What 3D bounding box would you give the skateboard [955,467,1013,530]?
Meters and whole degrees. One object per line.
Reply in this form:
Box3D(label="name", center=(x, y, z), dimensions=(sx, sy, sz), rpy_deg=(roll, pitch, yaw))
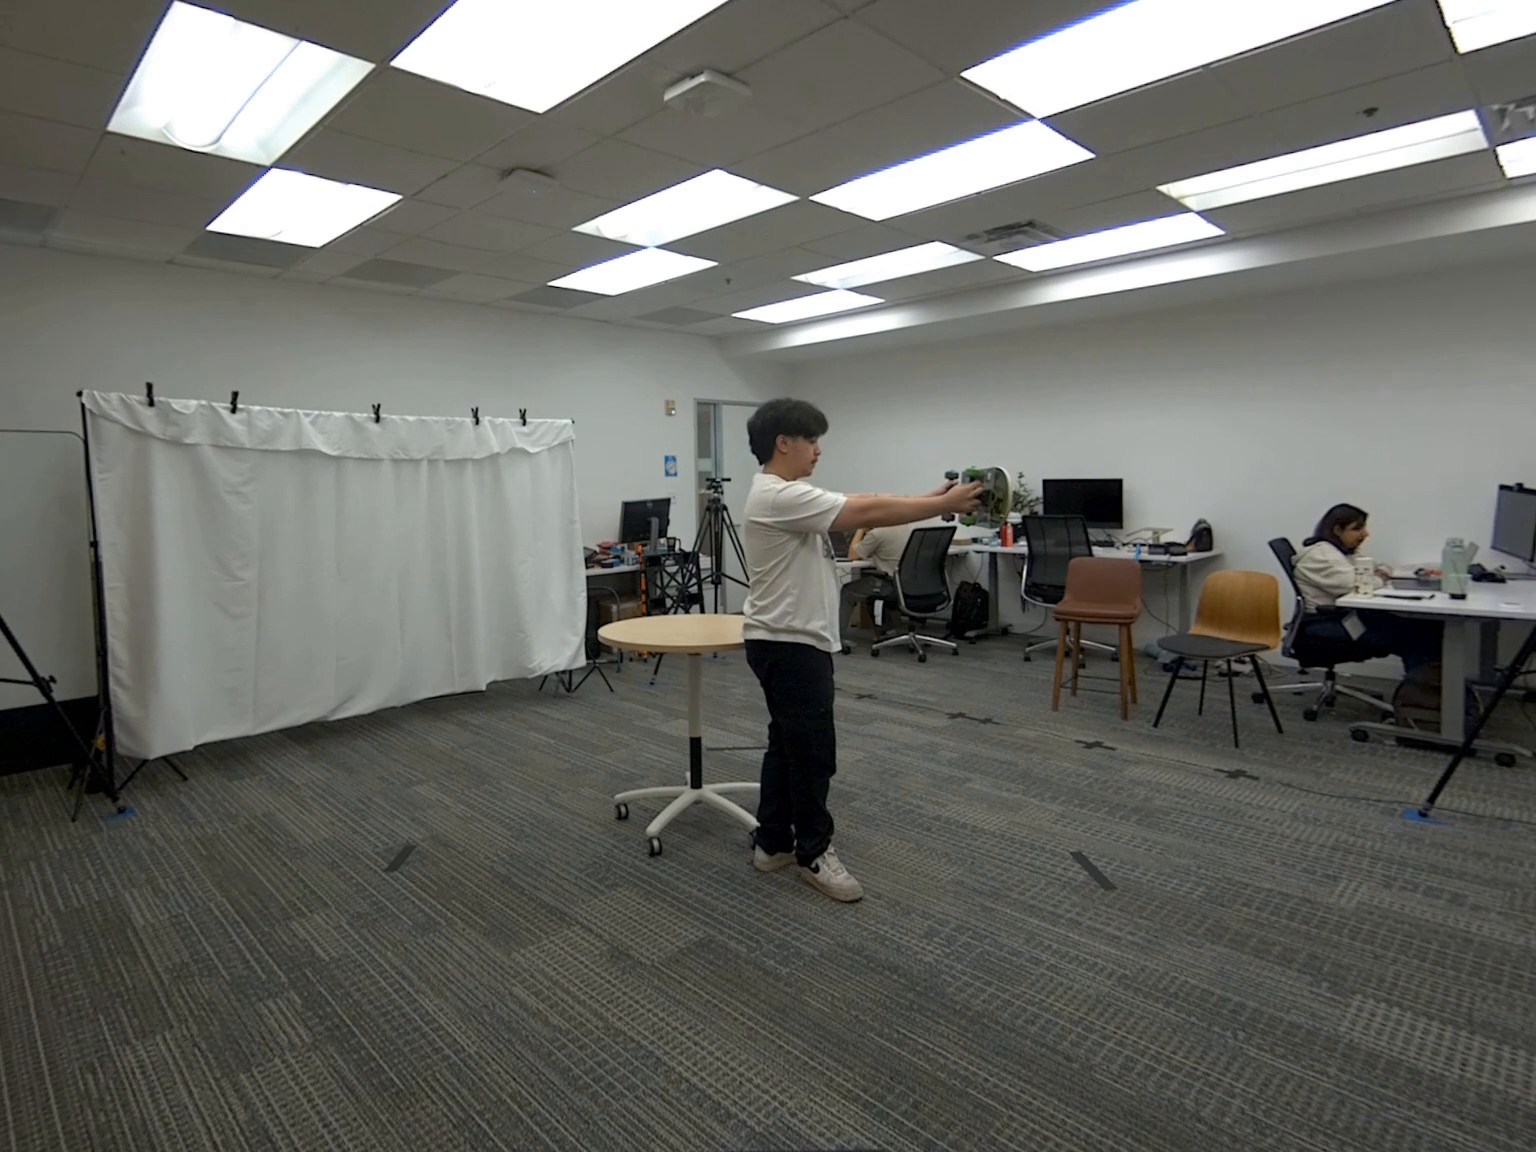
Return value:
Box3D(label="skateboard", center=(0.680, -0.270, 2.920), dimensions=(0.111, 0.192, 0.785), rpy_deg=(5, 6, 3))
